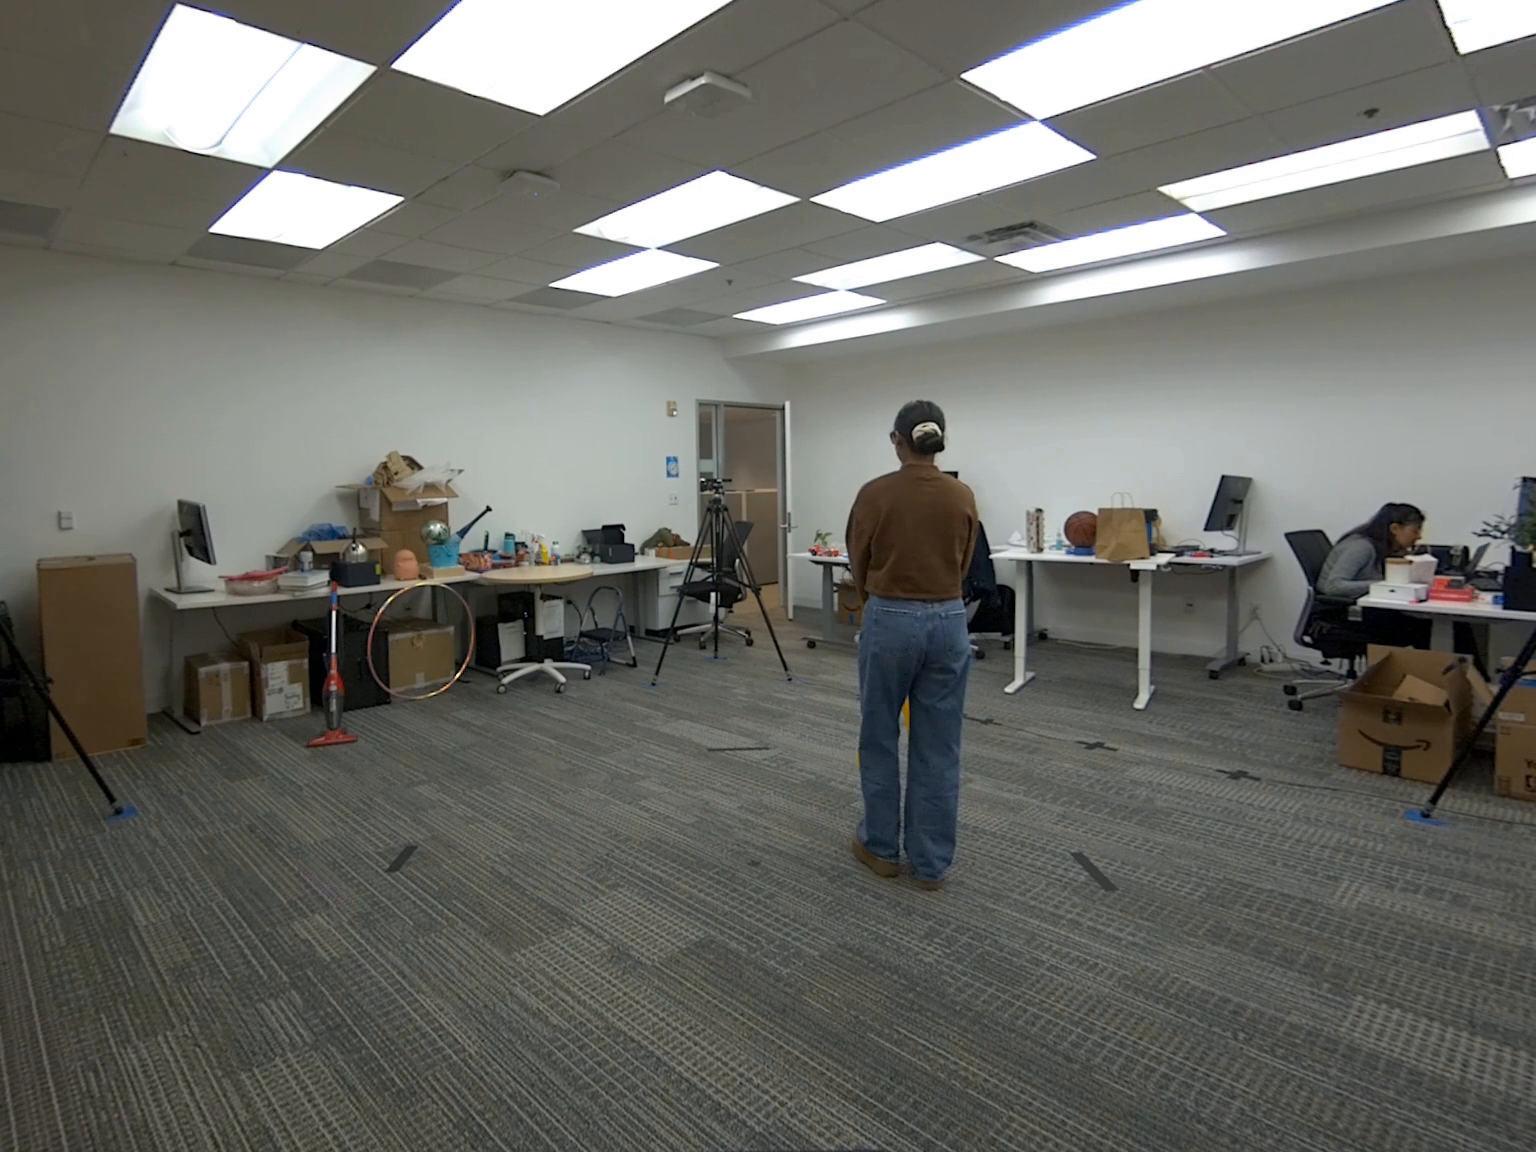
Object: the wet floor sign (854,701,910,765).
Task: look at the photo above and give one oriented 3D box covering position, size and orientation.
[{"bbox_3d":[0.515,0.445,3.337,0.286,0.643,0.287,-6,5,-16],"label":"wet floor sign"}]
